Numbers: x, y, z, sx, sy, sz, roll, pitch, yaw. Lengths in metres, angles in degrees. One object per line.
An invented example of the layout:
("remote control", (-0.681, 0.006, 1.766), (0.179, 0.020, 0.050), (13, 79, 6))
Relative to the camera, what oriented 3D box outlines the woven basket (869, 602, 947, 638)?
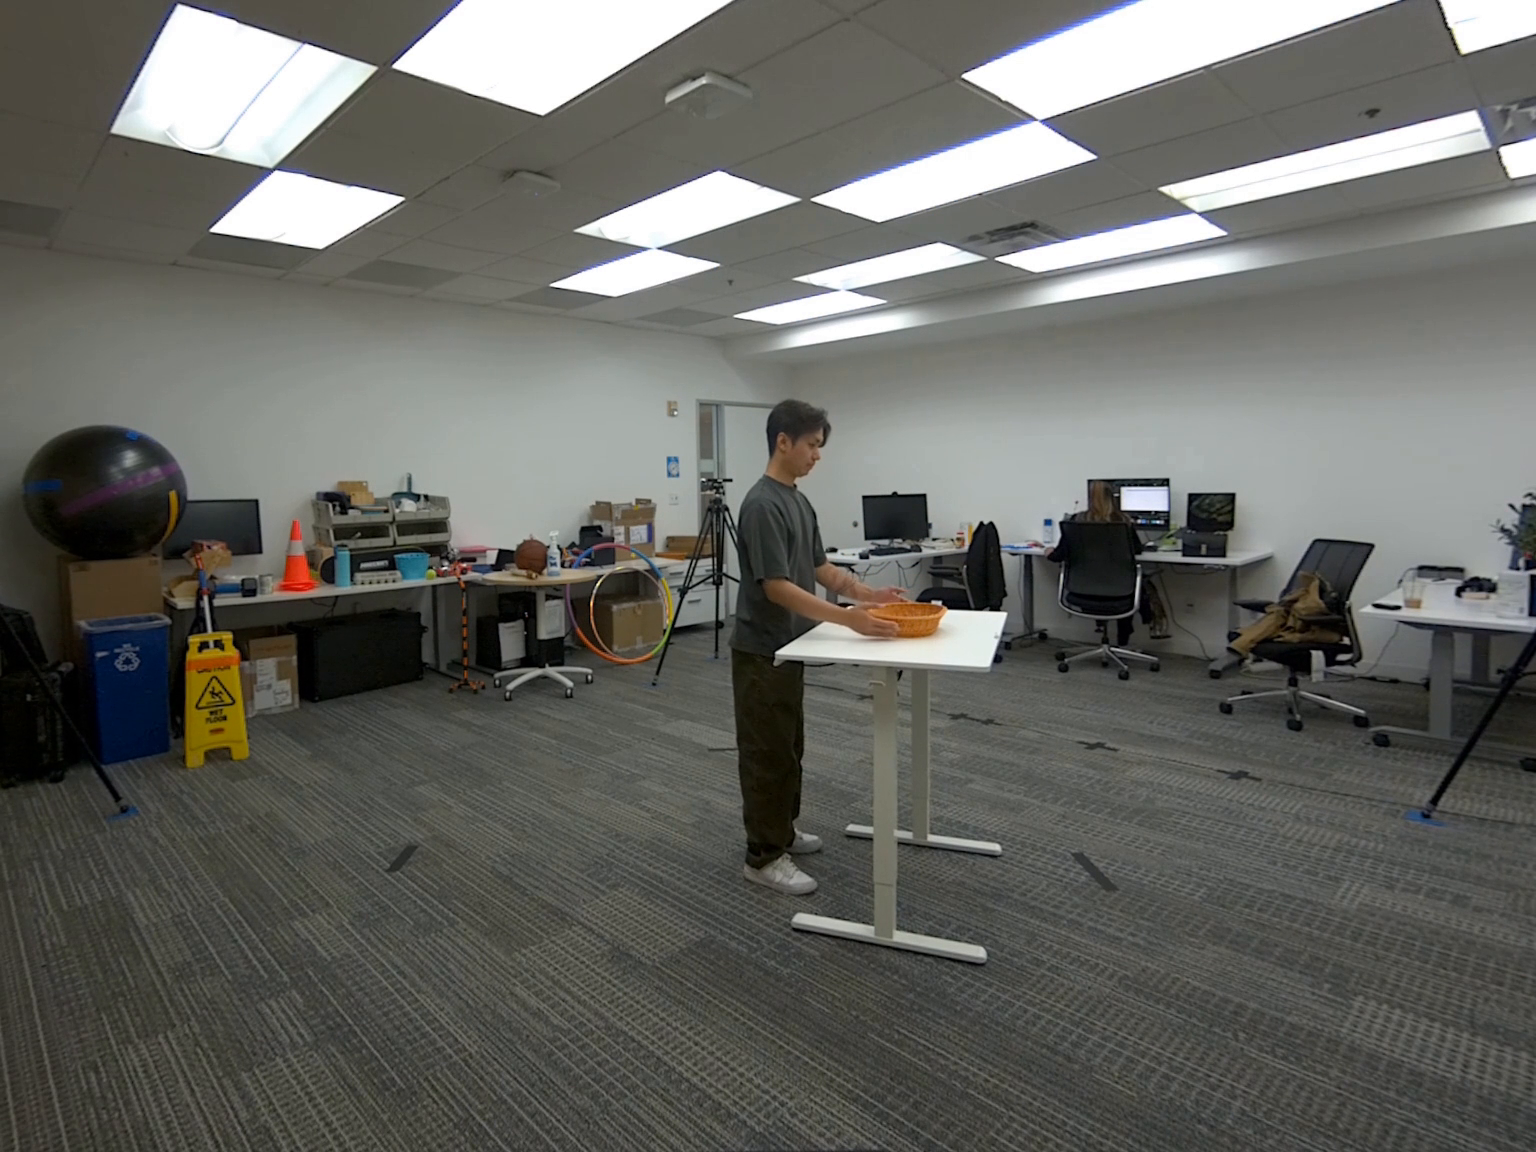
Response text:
("woven basket", (0.452, 0.145, 2.858), (0.258, 0.073, 0.343), (2, 6, 25))
